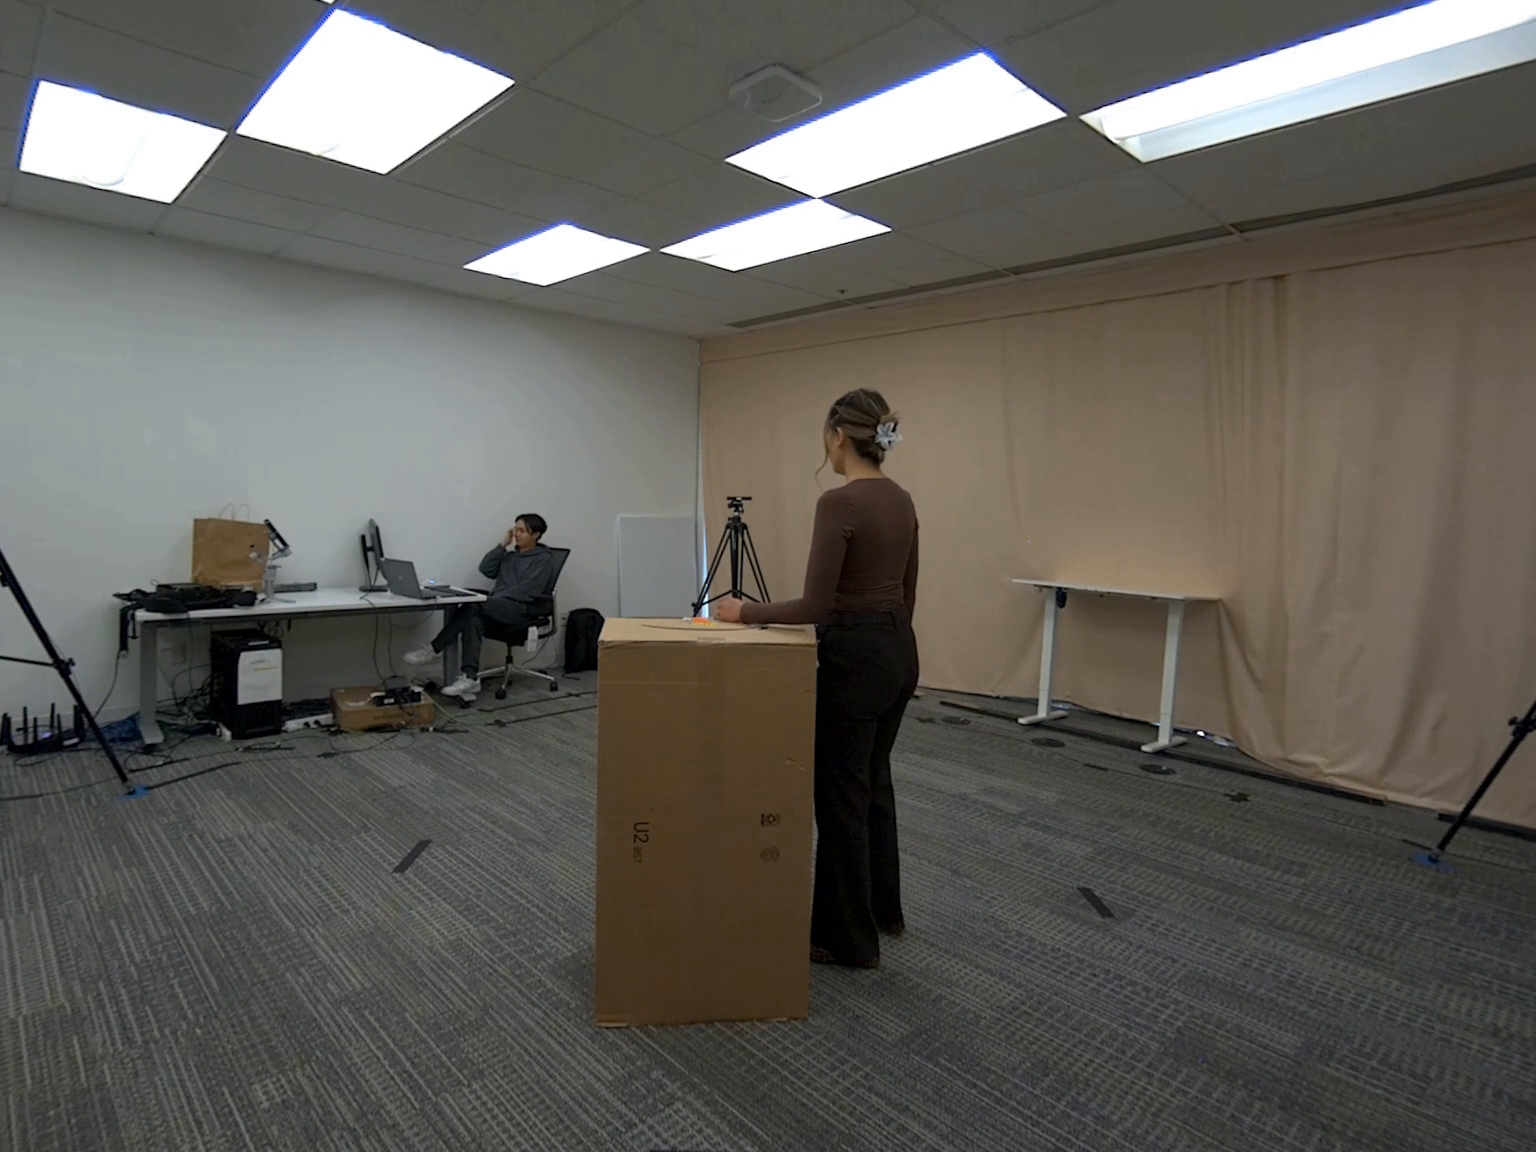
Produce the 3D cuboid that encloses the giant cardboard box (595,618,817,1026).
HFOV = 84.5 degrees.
[{"bbox_3d":[-0.199,0.657,2.412,0.581,1.024,0.450,1,3,-7],"label":"giant cardboard box"}]
